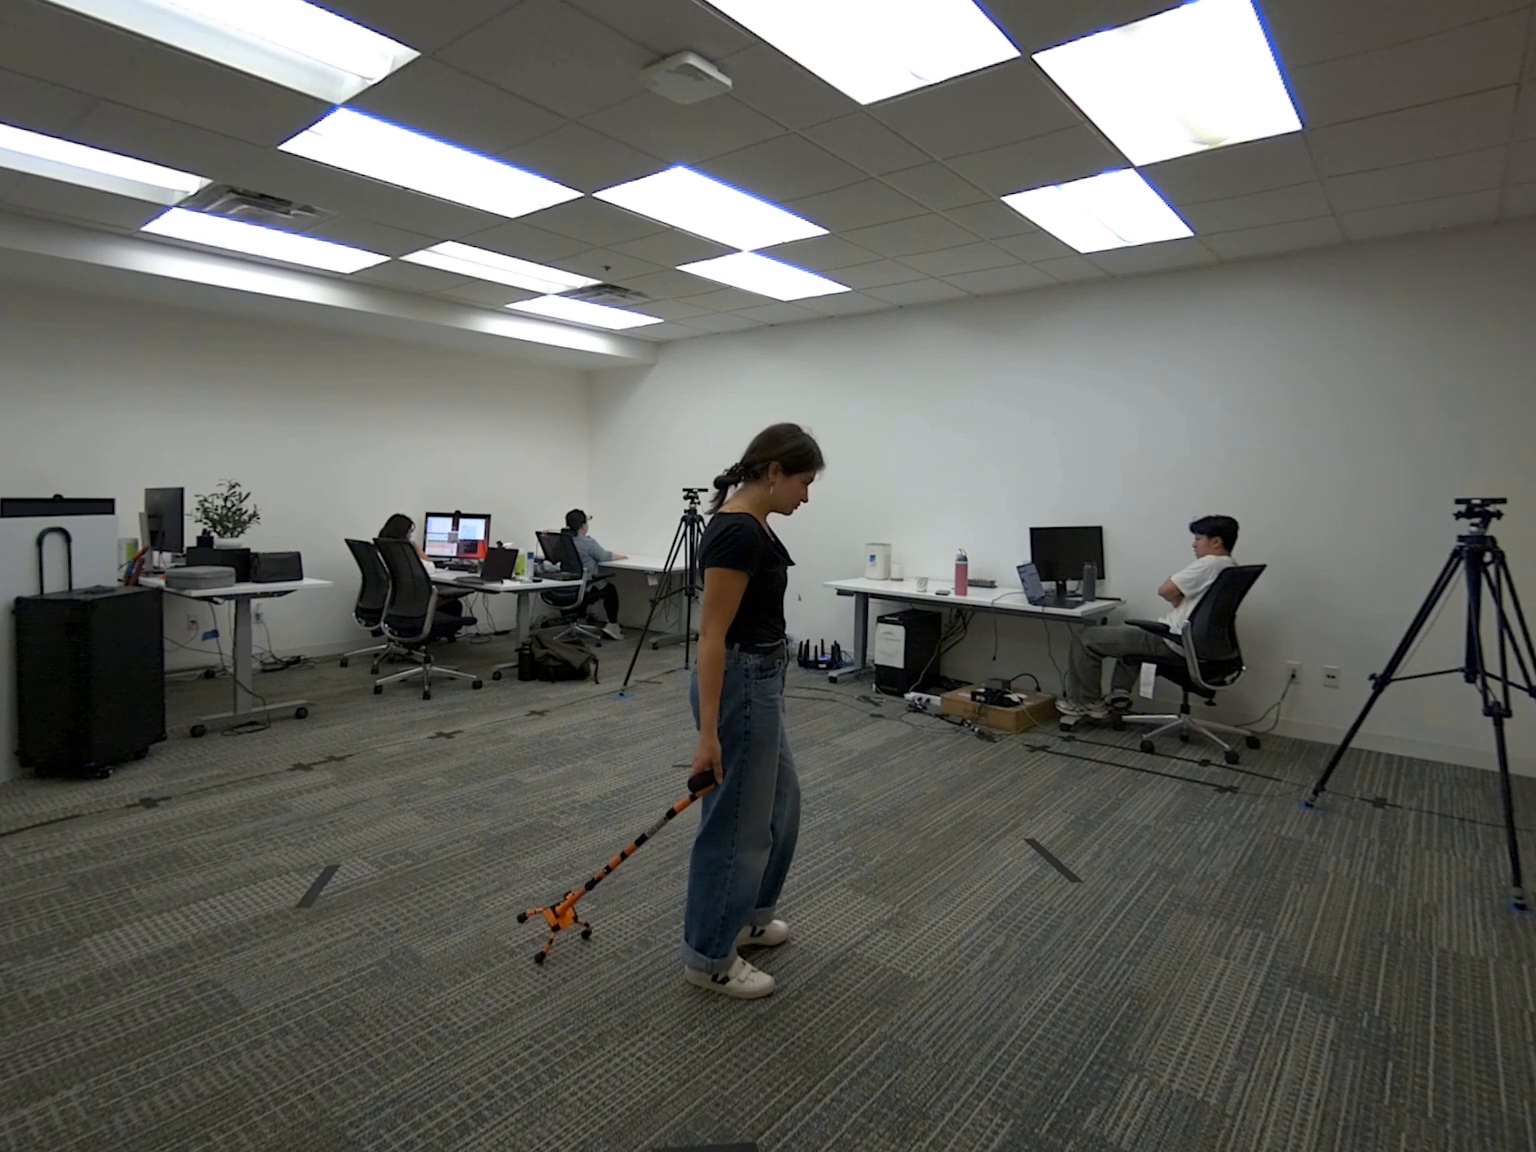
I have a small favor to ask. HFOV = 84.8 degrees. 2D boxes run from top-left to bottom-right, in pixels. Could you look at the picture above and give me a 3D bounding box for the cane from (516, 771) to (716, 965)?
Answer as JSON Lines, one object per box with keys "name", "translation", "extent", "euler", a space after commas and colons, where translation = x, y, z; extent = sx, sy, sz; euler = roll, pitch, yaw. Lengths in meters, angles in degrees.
{"name": "cane", "translation": [-0.396, 0.776, 2.340], "extent": [0.201, 0.156, 0.907], "euler": [-9, -31, -51]}
